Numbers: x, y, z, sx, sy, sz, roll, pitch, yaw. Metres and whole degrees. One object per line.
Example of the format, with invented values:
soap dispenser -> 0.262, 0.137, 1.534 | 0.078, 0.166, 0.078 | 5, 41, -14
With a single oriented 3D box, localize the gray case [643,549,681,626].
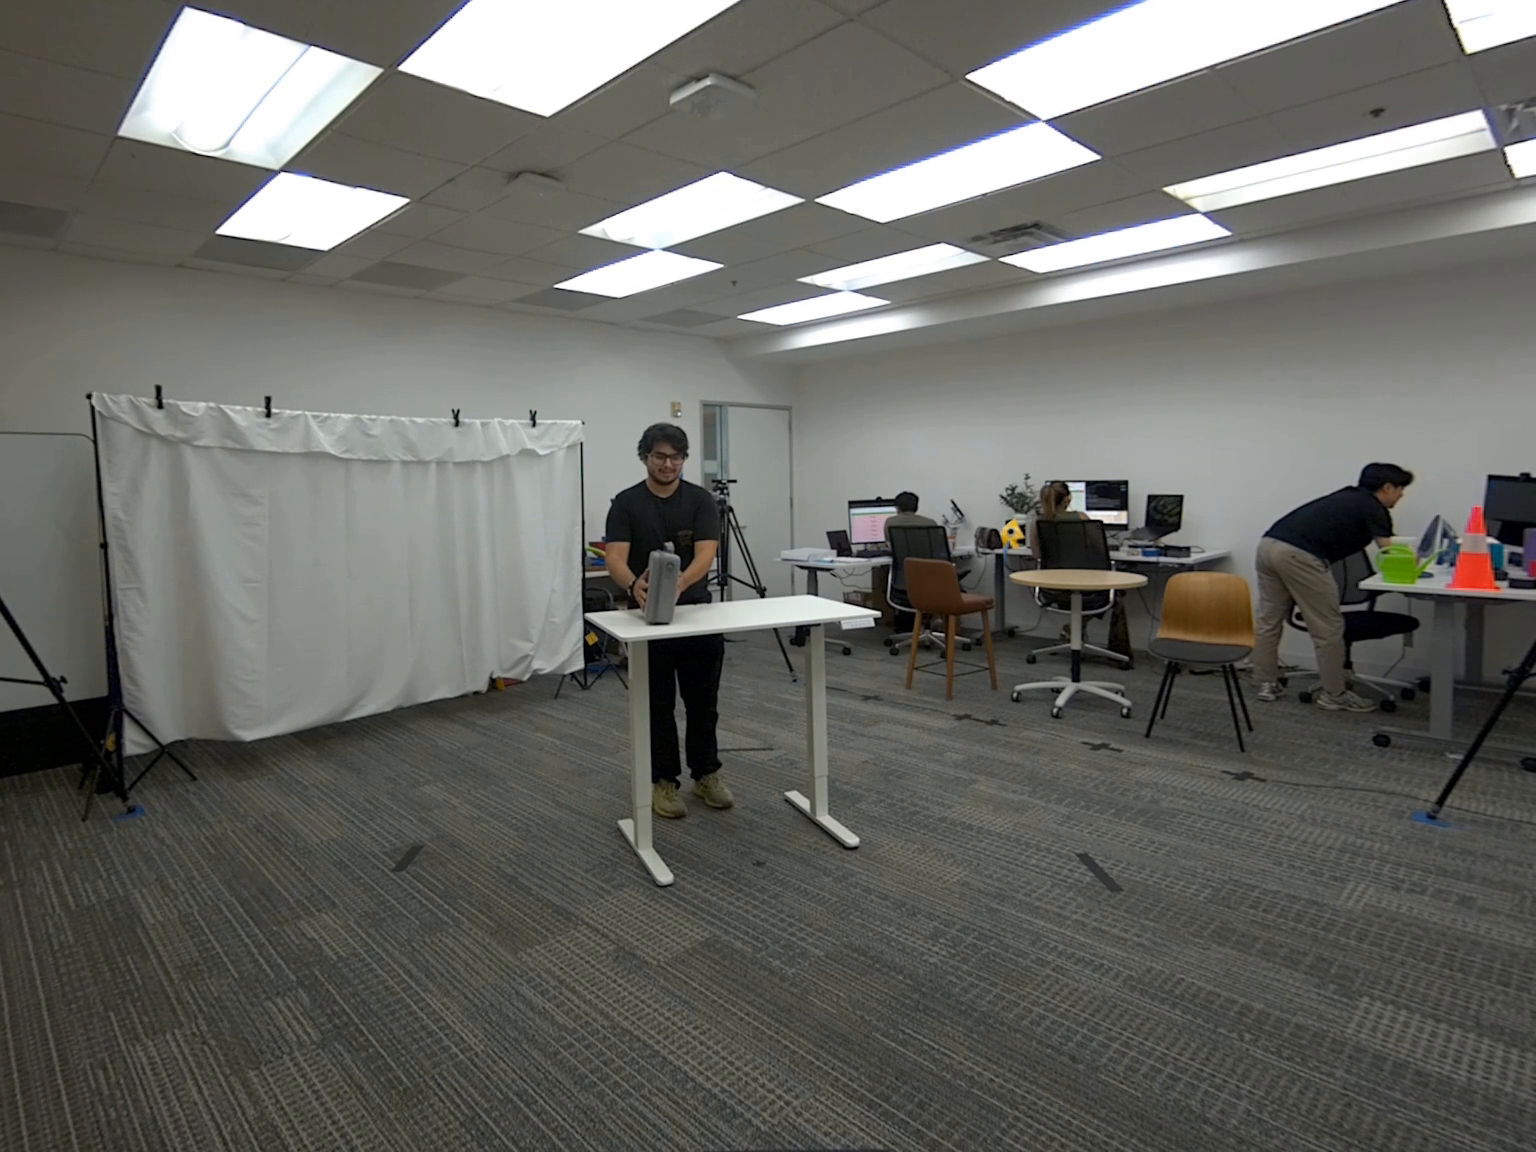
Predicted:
gray case -> -0.401, 0.037, 3.179 | 0.104, 0.260, 0.258 | 5, 3, -4
